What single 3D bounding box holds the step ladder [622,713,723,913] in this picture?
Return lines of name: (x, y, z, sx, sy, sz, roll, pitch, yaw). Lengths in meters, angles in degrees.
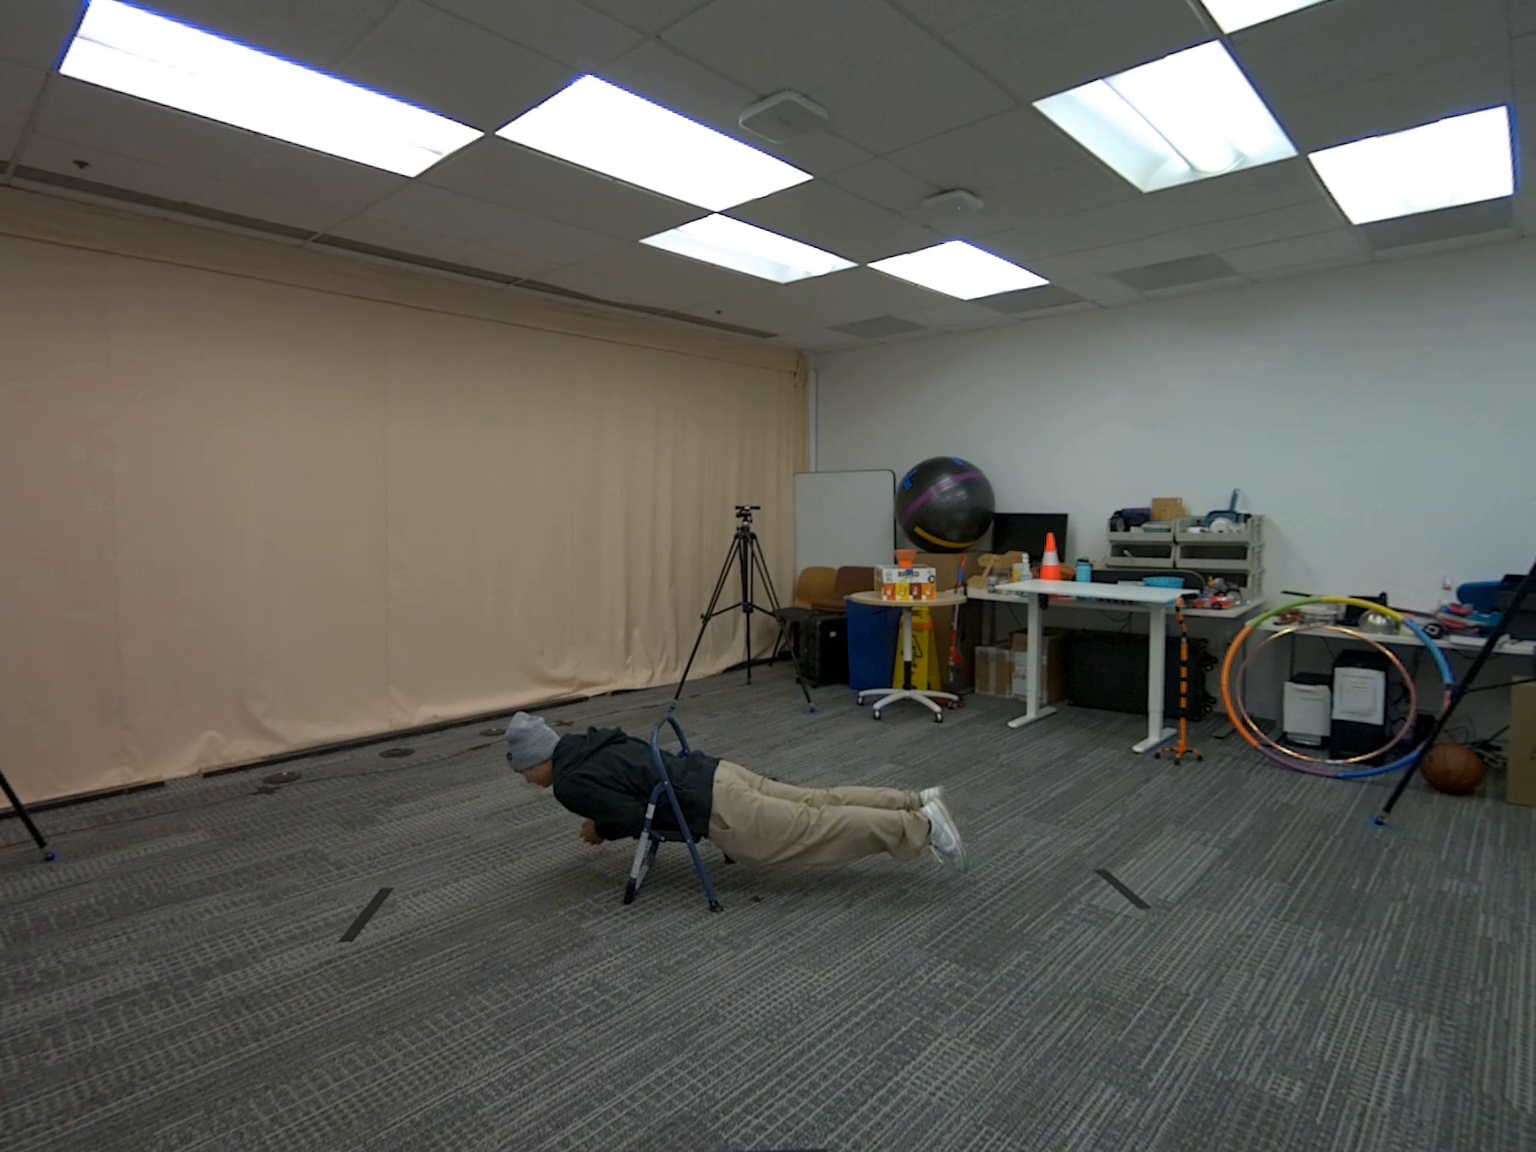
step ladder: (-0.321, 0.838, 3.105, 0.351, 0.605, 0.429, -2, 3, 5)
